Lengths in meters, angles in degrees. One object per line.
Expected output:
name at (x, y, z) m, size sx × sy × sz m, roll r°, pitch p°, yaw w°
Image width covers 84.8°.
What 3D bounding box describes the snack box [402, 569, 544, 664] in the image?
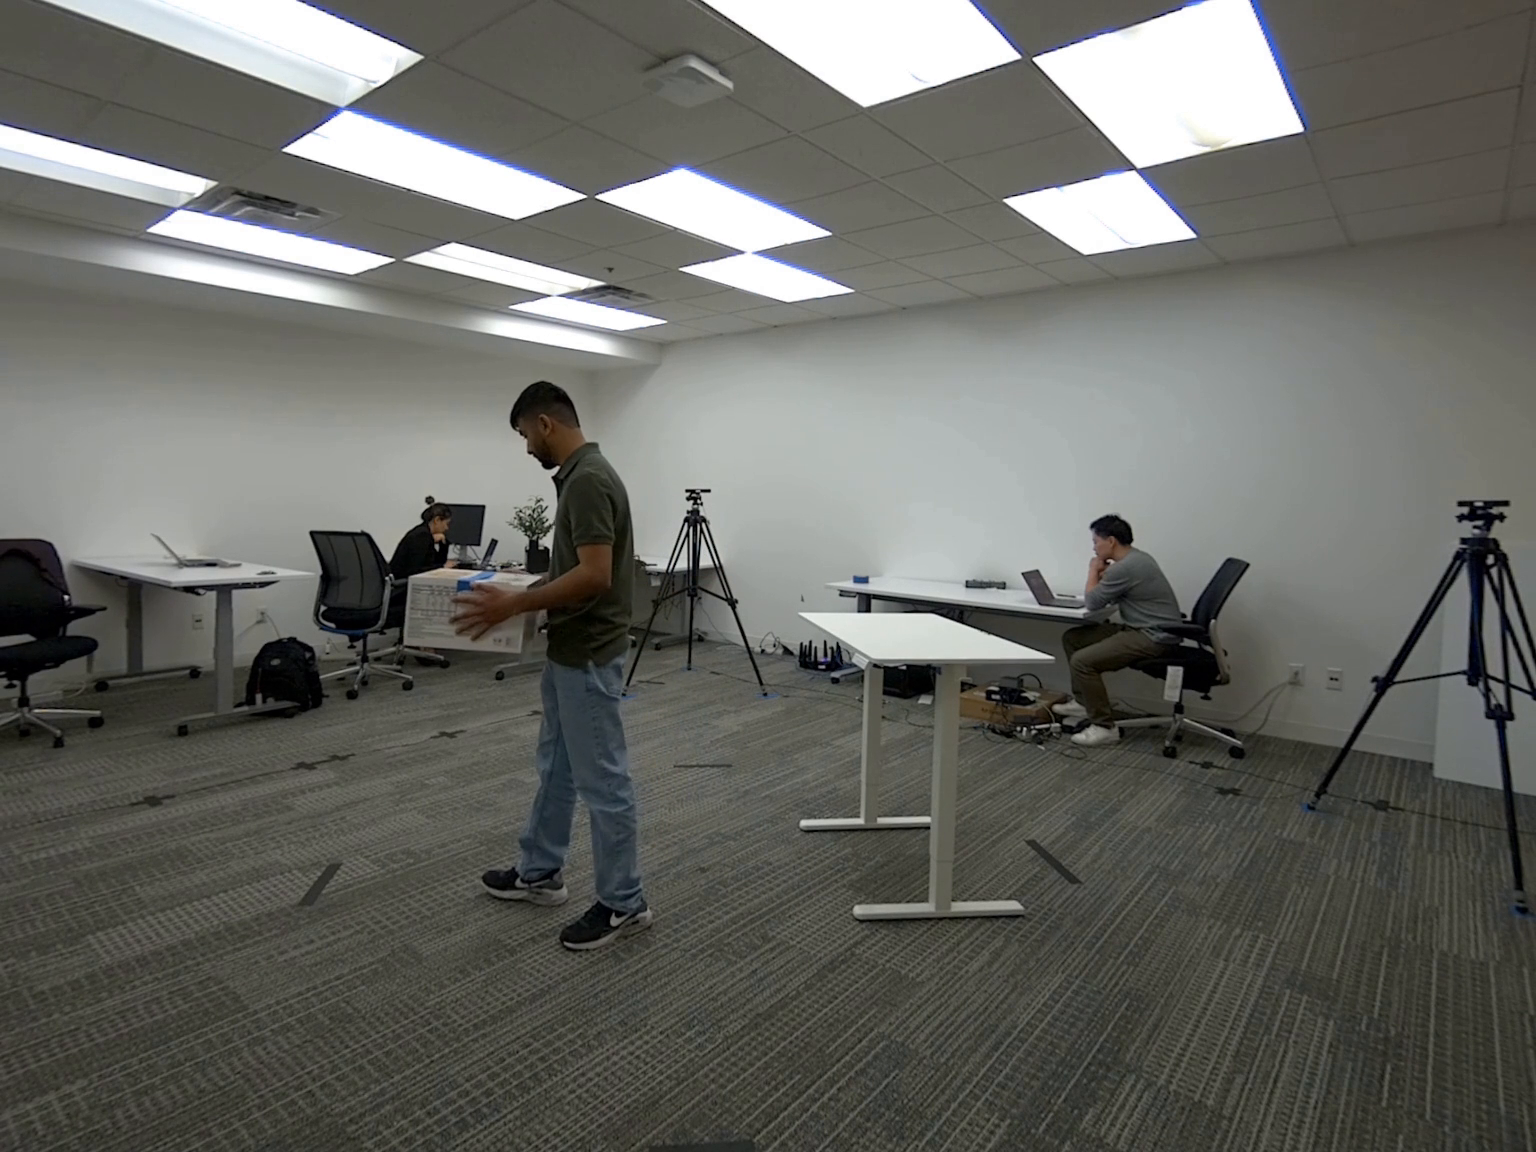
snack box at (-0.916, 0.101, 2.668) m, size 0.338 × 0.205 × 0.409 m, roll 4°, pitch 4°, yaw -8°
